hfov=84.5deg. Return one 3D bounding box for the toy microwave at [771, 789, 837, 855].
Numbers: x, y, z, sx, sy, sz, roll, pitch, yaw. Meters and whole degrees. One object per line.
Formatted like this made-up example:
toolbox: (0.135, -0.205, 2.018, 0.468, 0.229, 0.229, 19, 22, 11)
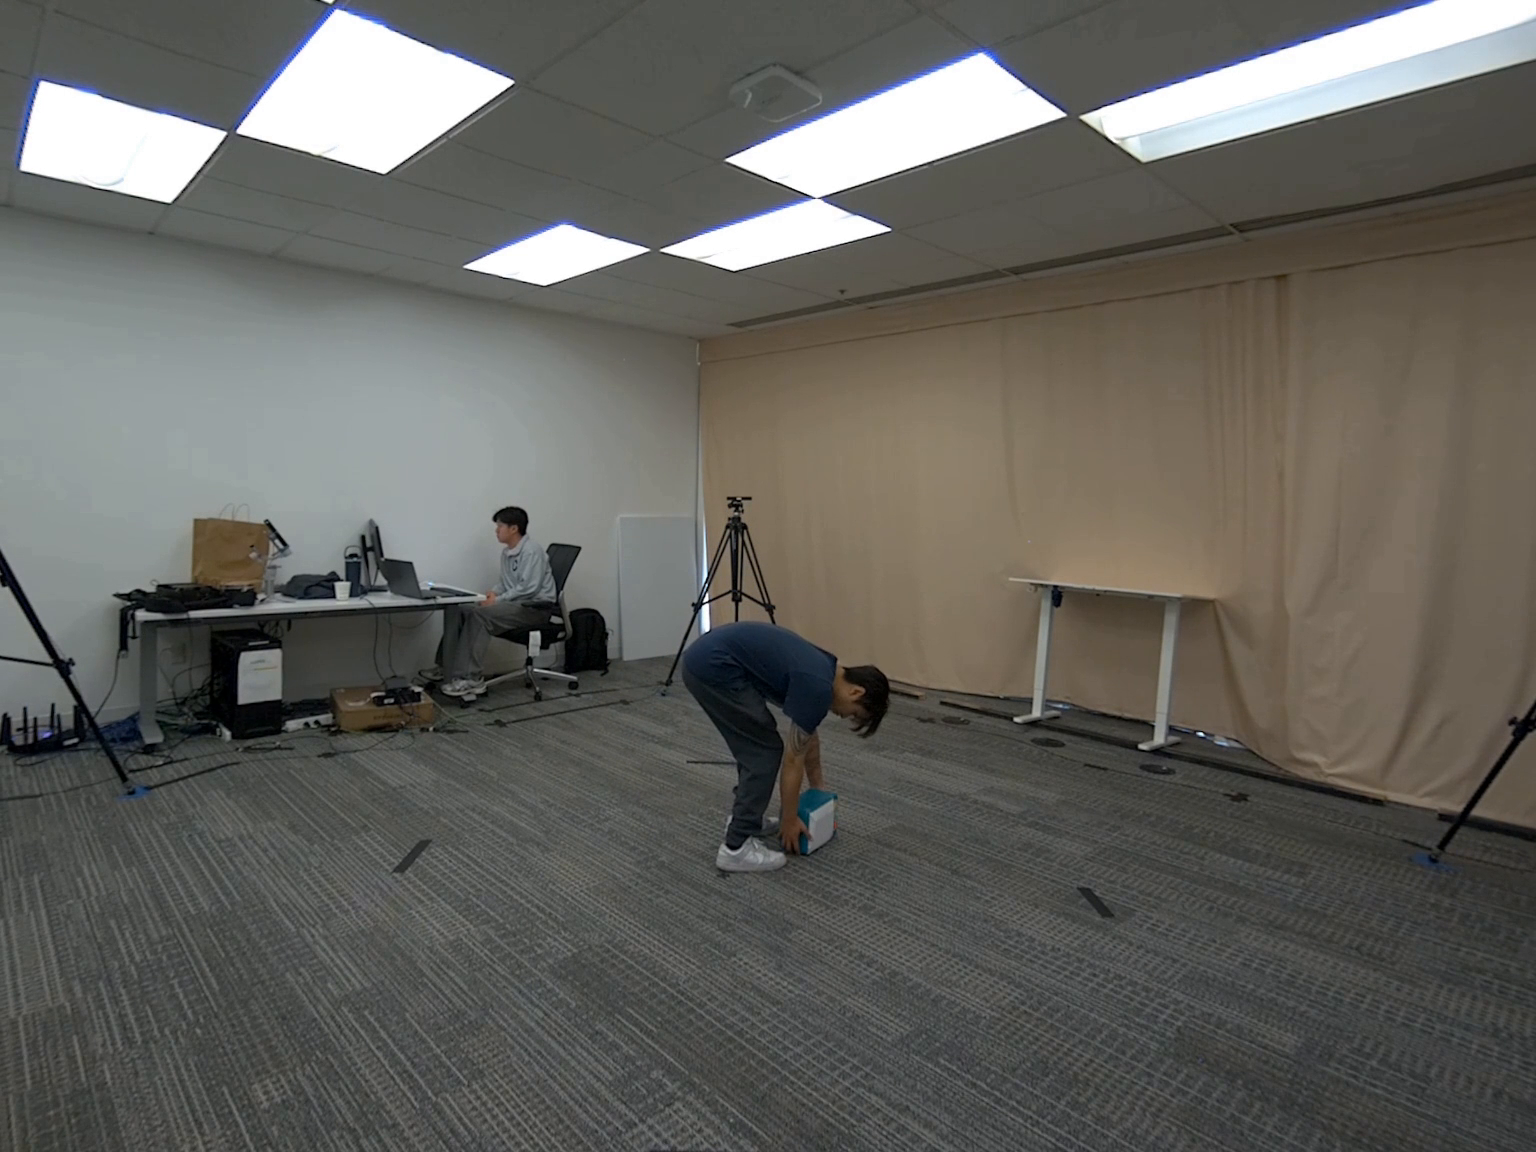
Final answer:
toy microwave: (0.164, 0.996, 3.416, 0.156, 0.184, 0.280, 4, 4, 31)
